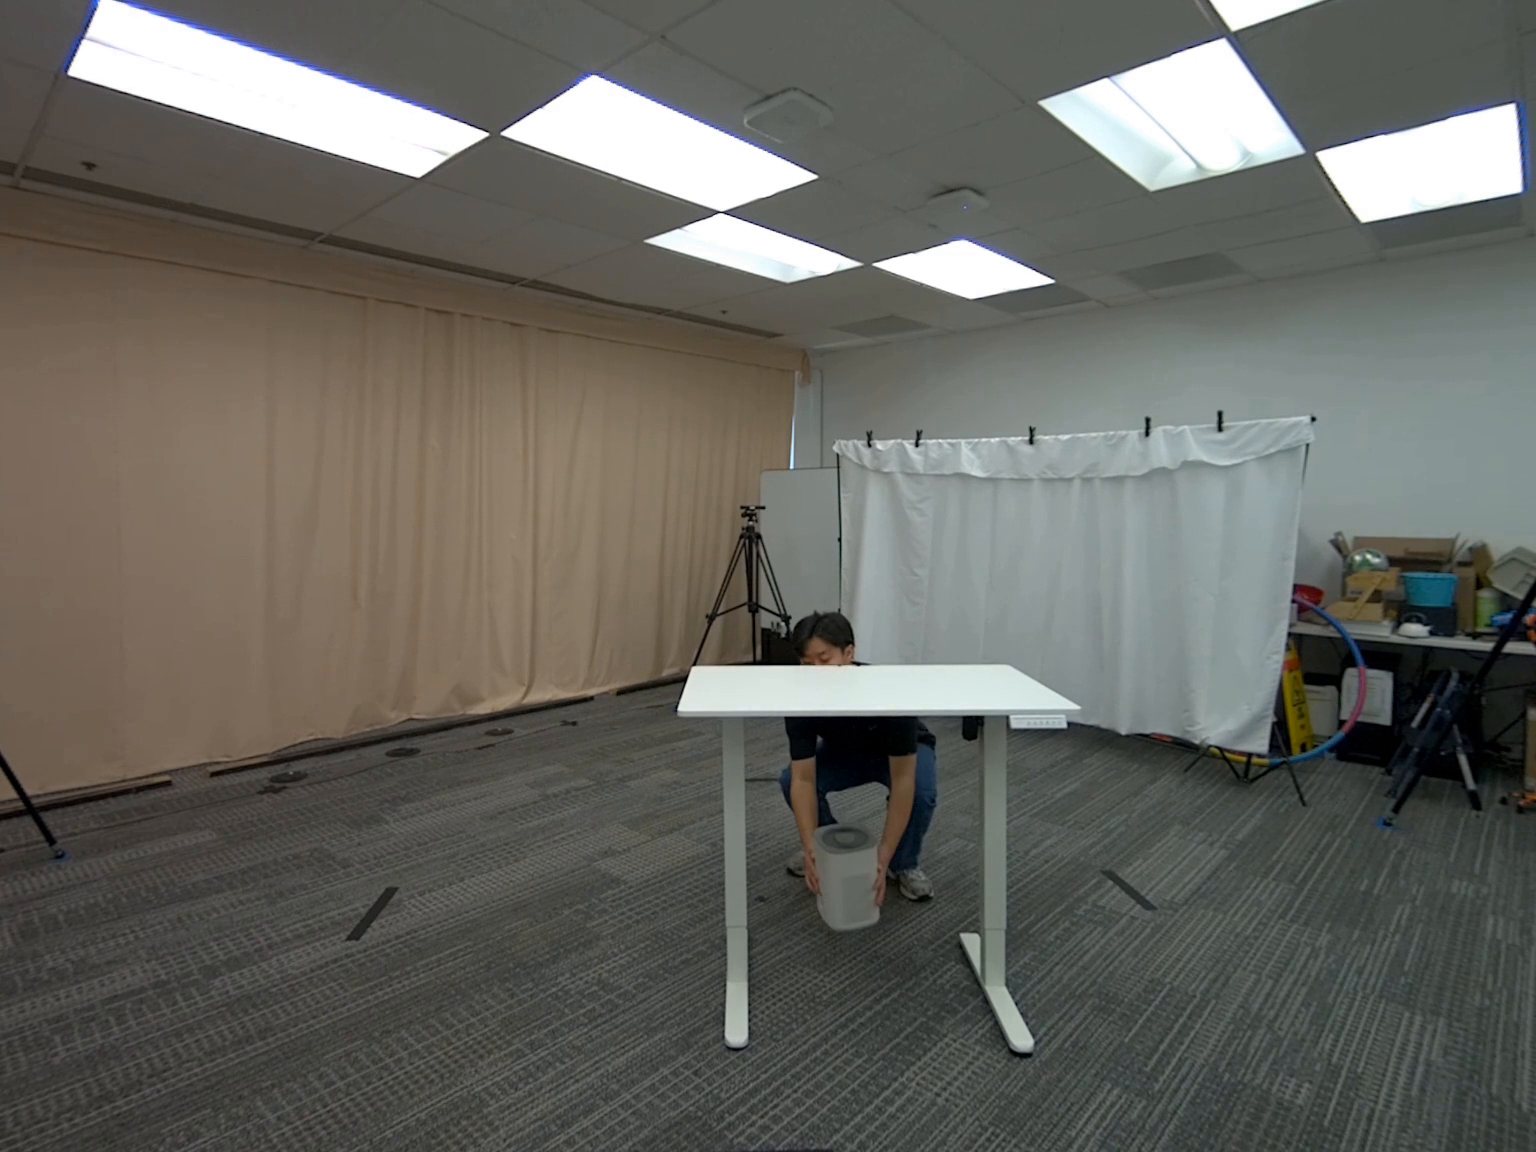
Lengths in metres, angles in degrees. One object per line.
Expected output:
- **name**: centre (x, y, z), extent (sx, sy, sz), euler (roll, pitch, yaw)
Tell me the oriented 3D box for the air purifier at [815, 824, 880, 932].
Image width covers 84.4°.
- **air purifier**: centre (0.239, 0.911, 2.565), extent (0.170, 0.264, 0.174), euler (-5, 9, -11)
